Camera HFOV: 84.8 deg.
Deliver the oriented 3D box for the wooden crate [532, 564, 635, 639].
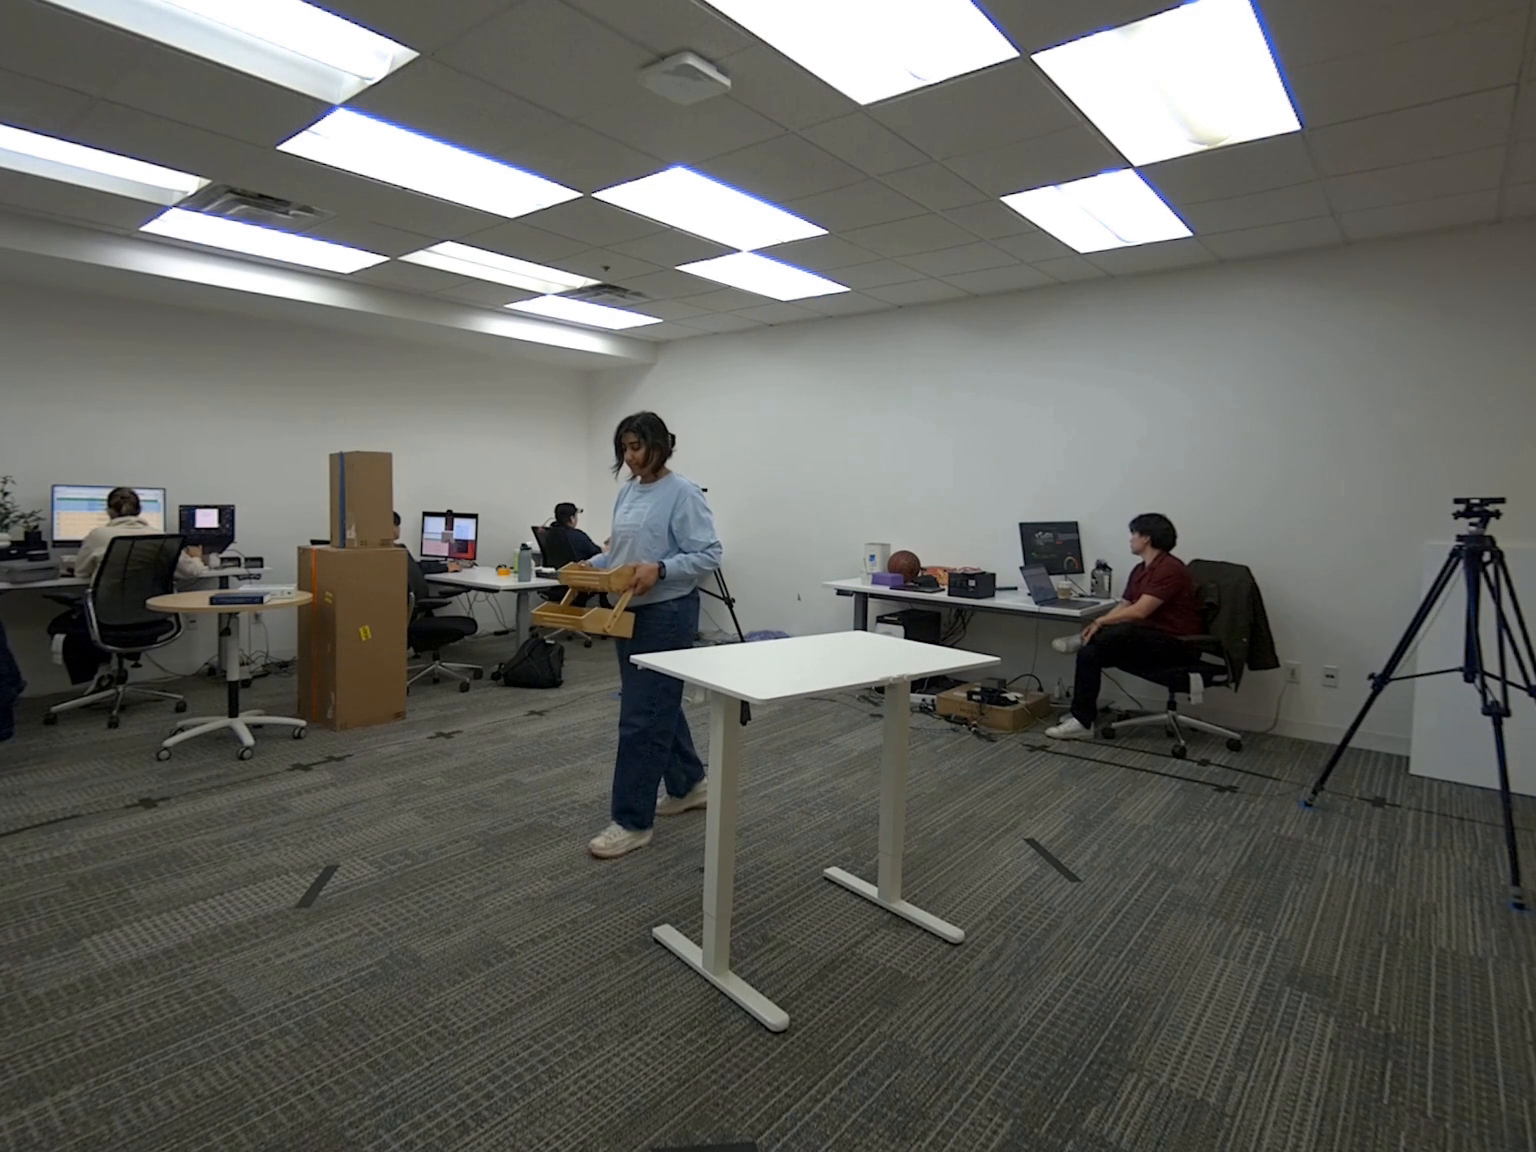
[{"bbox_3d":[-0.687,0.069,3.219,0.335,0.275,0.290,4,-8,39],"label":"wooden crate"}]
